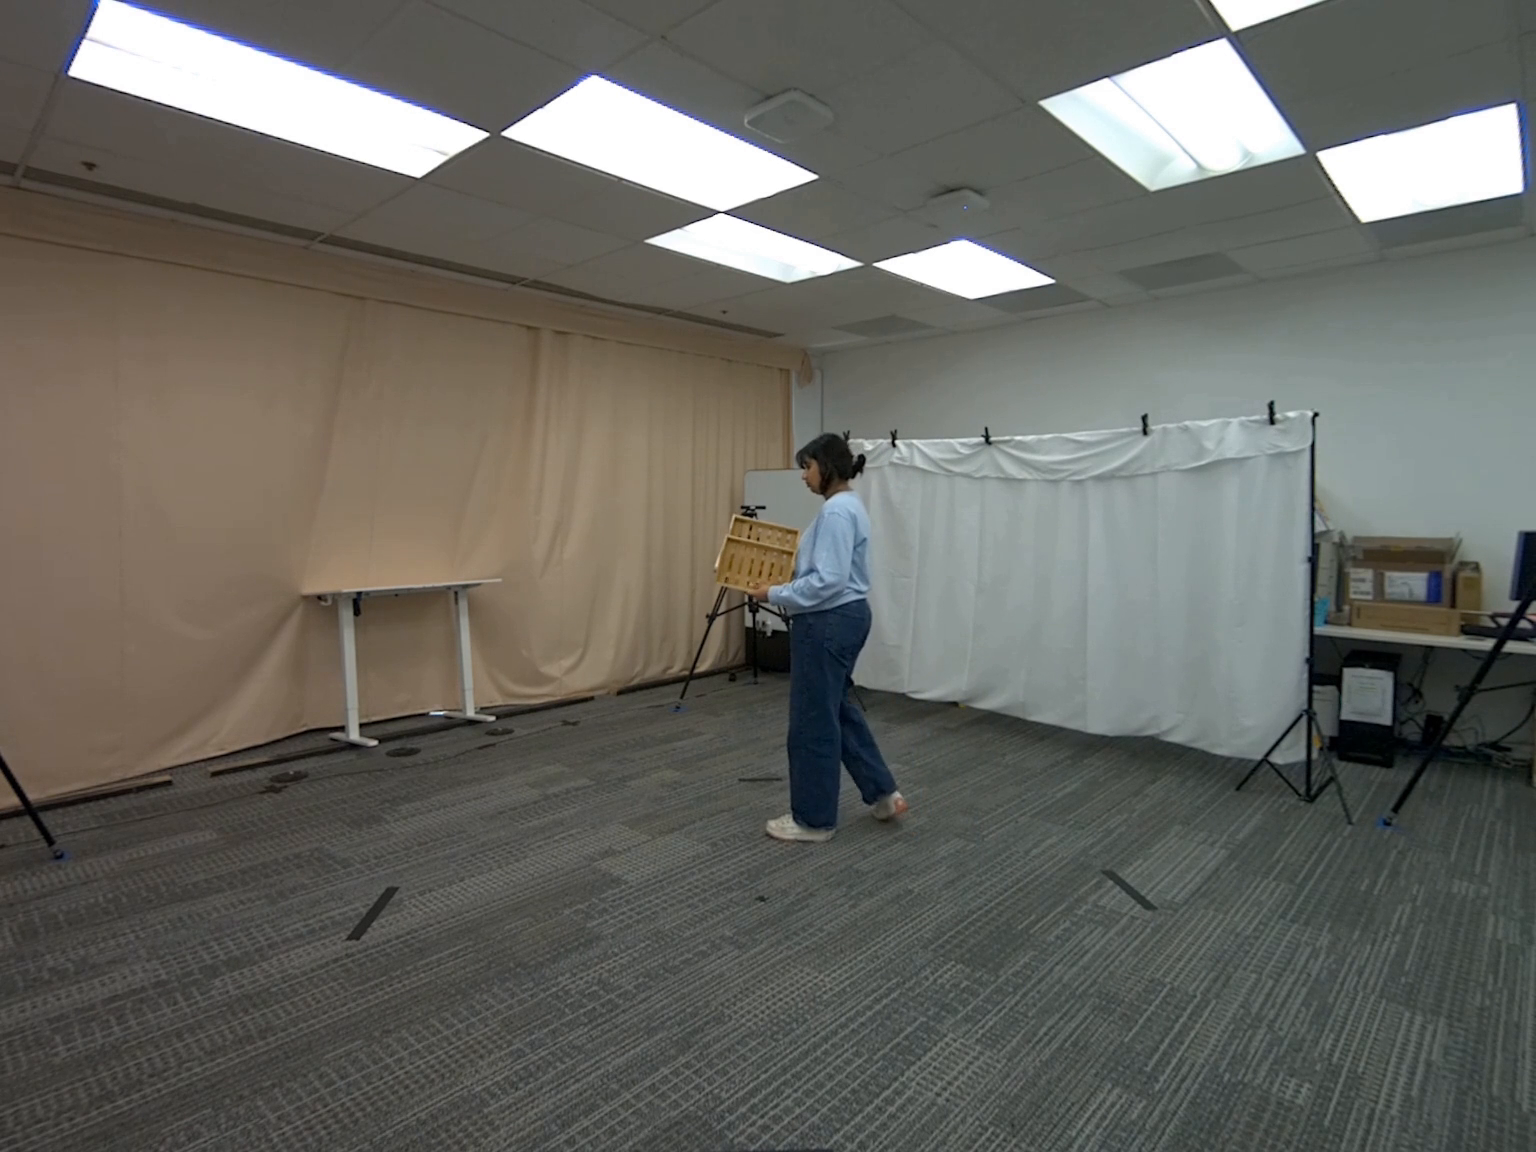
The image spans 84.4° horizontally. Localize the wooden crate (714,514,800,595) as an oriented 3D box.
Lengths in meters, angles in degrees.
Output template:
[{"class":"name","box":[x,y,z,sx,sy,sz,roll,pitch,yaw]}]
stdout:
[{"class":"wooden crate","box":[-0.029,-0.082,3.559,0.326,0.301,0.273,12,3,2]}]
